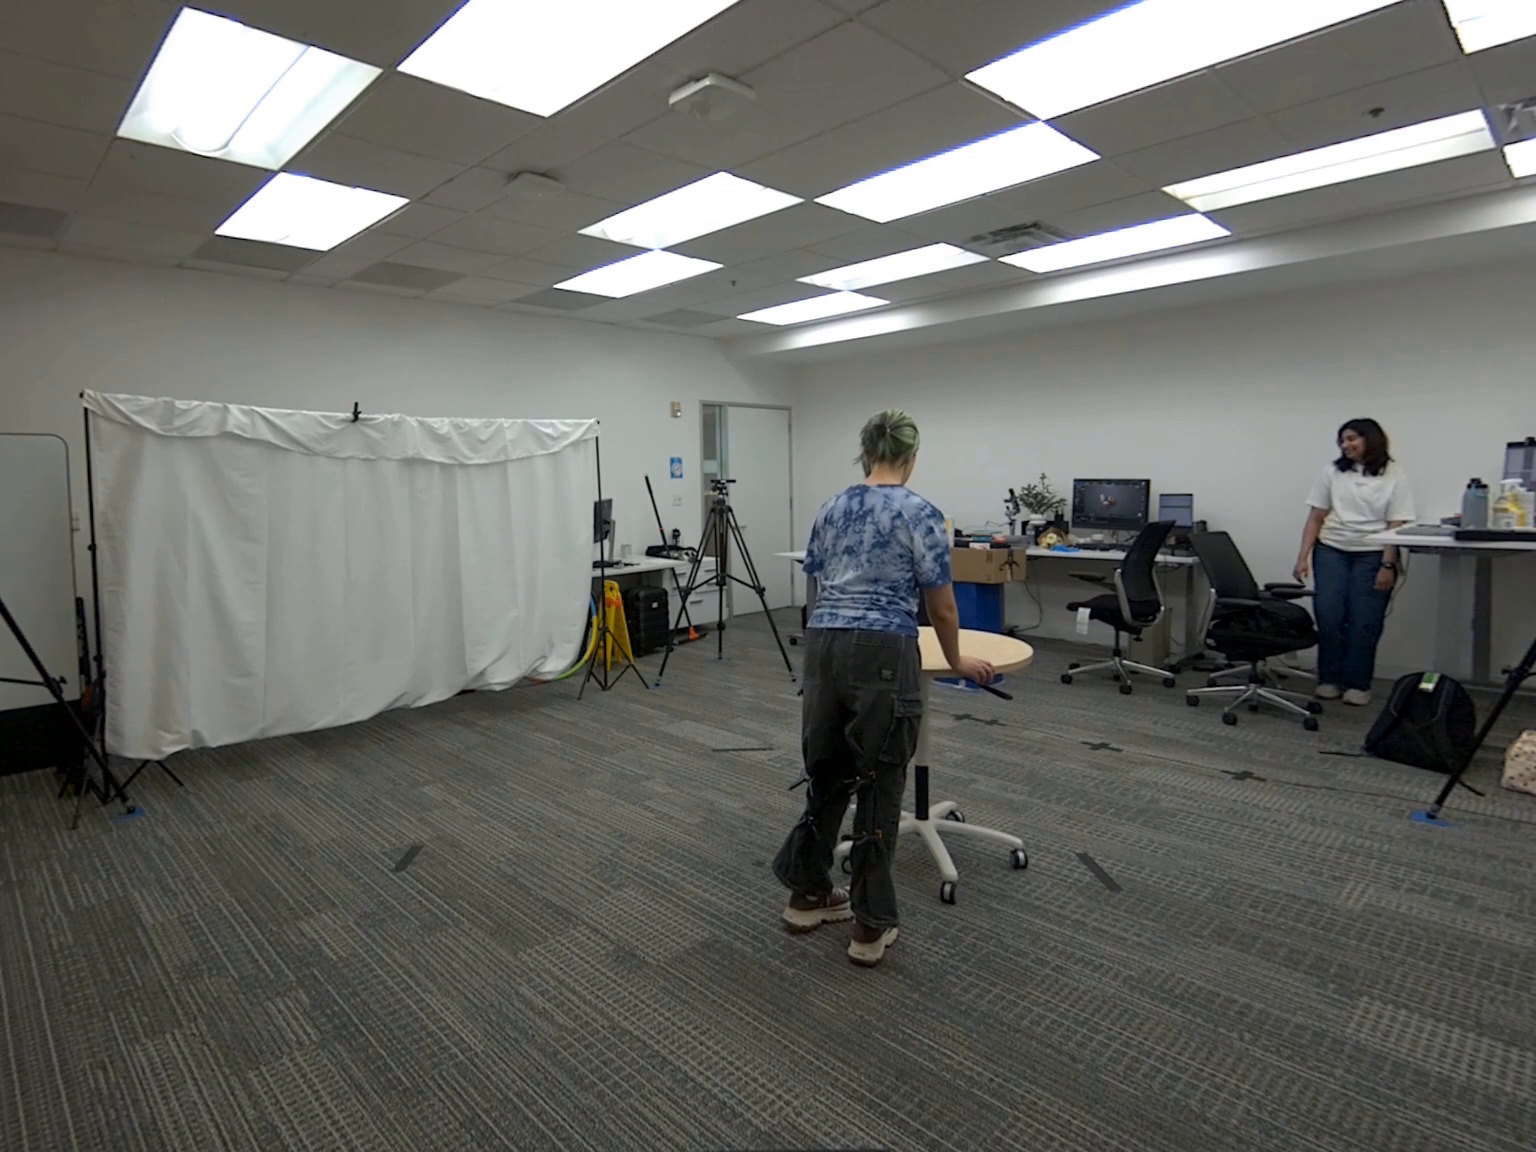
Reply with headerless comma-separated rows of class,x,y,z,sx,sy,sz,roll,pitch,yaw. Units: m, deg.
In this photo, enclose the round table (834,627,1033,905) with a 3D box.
round table,0.572,0.646,3.128,0.763,0.791,0.768,-1,5,-2
